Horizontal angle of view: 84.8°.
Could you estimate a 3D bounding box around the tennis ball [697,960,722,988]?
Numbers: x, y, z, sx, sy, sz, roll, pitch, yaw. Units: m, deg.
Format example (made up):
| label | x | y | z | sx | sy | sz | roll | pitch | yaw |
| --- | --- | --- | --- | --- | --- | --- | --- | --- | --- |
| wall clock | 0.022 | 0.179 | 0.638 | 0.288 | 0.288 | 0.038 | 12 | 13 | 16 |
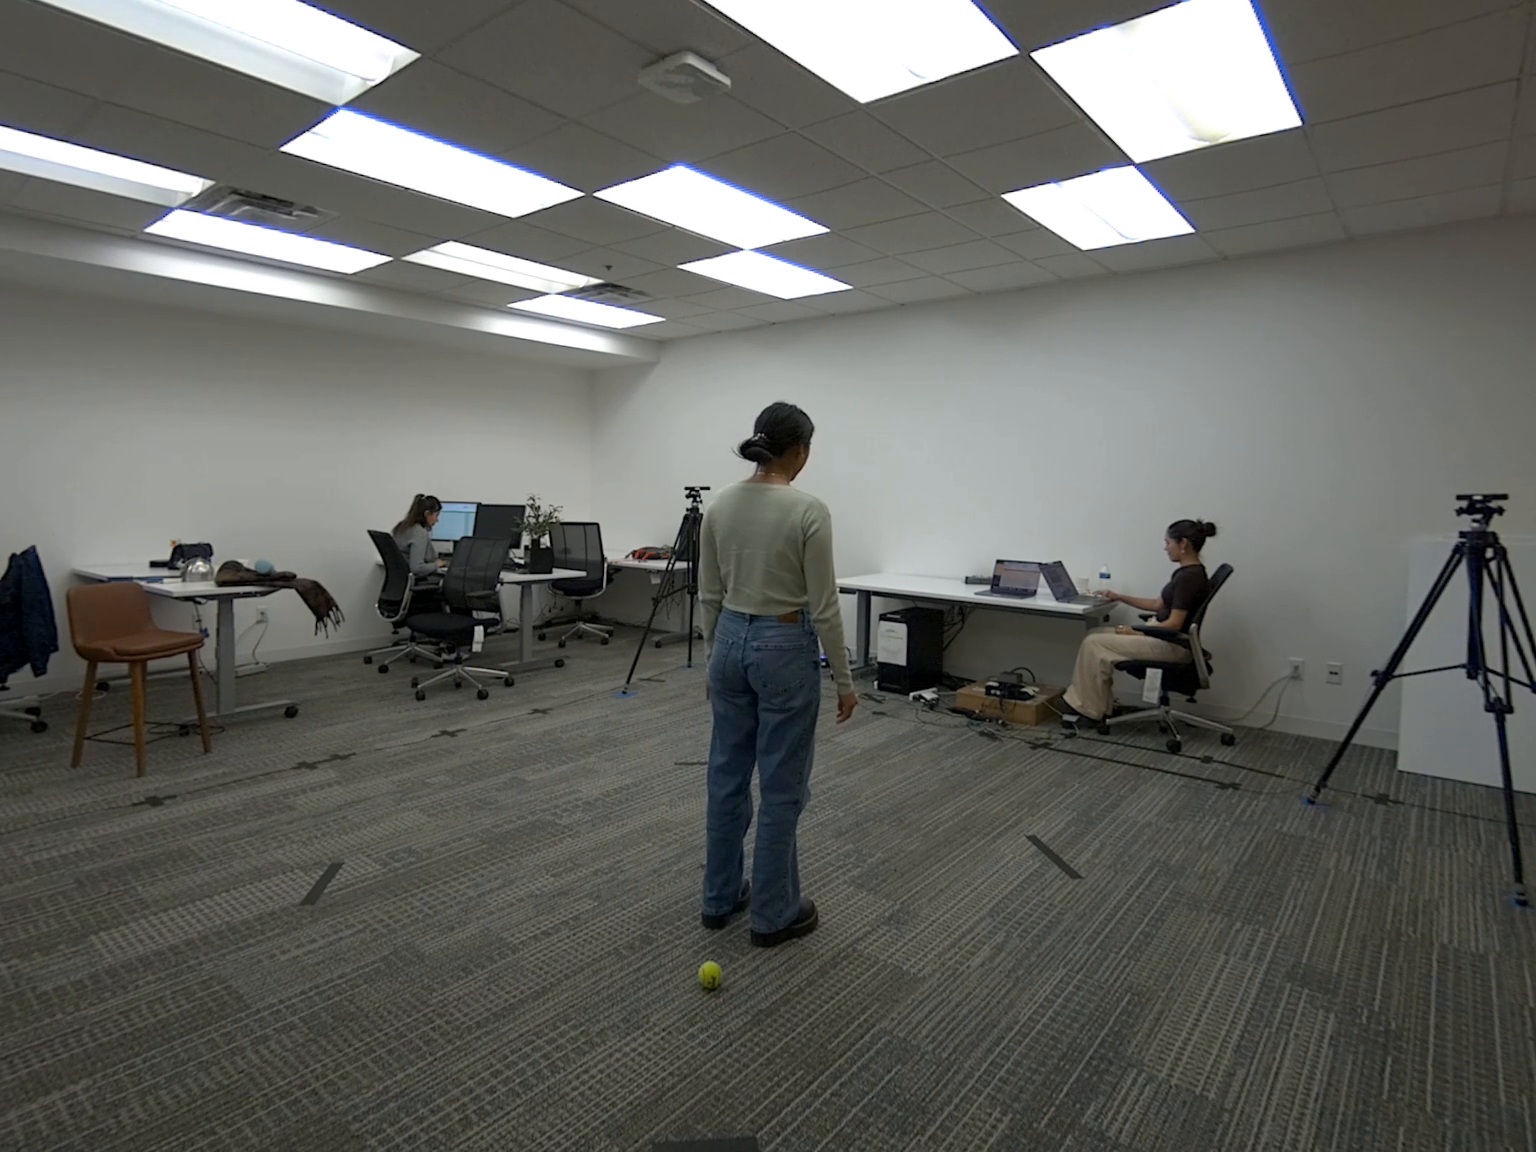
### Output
| label | x | y | z | sx | sy | sz | roll | pitch | yaw |
| --- | --- | --- | --- | --- | --- | --- | --- | --- | --- |
| tennis ball | -0.169 | 1.088 | 2.377 | 0.066 | 0.066 | 0.067 | 1 | 4 | -2 |
